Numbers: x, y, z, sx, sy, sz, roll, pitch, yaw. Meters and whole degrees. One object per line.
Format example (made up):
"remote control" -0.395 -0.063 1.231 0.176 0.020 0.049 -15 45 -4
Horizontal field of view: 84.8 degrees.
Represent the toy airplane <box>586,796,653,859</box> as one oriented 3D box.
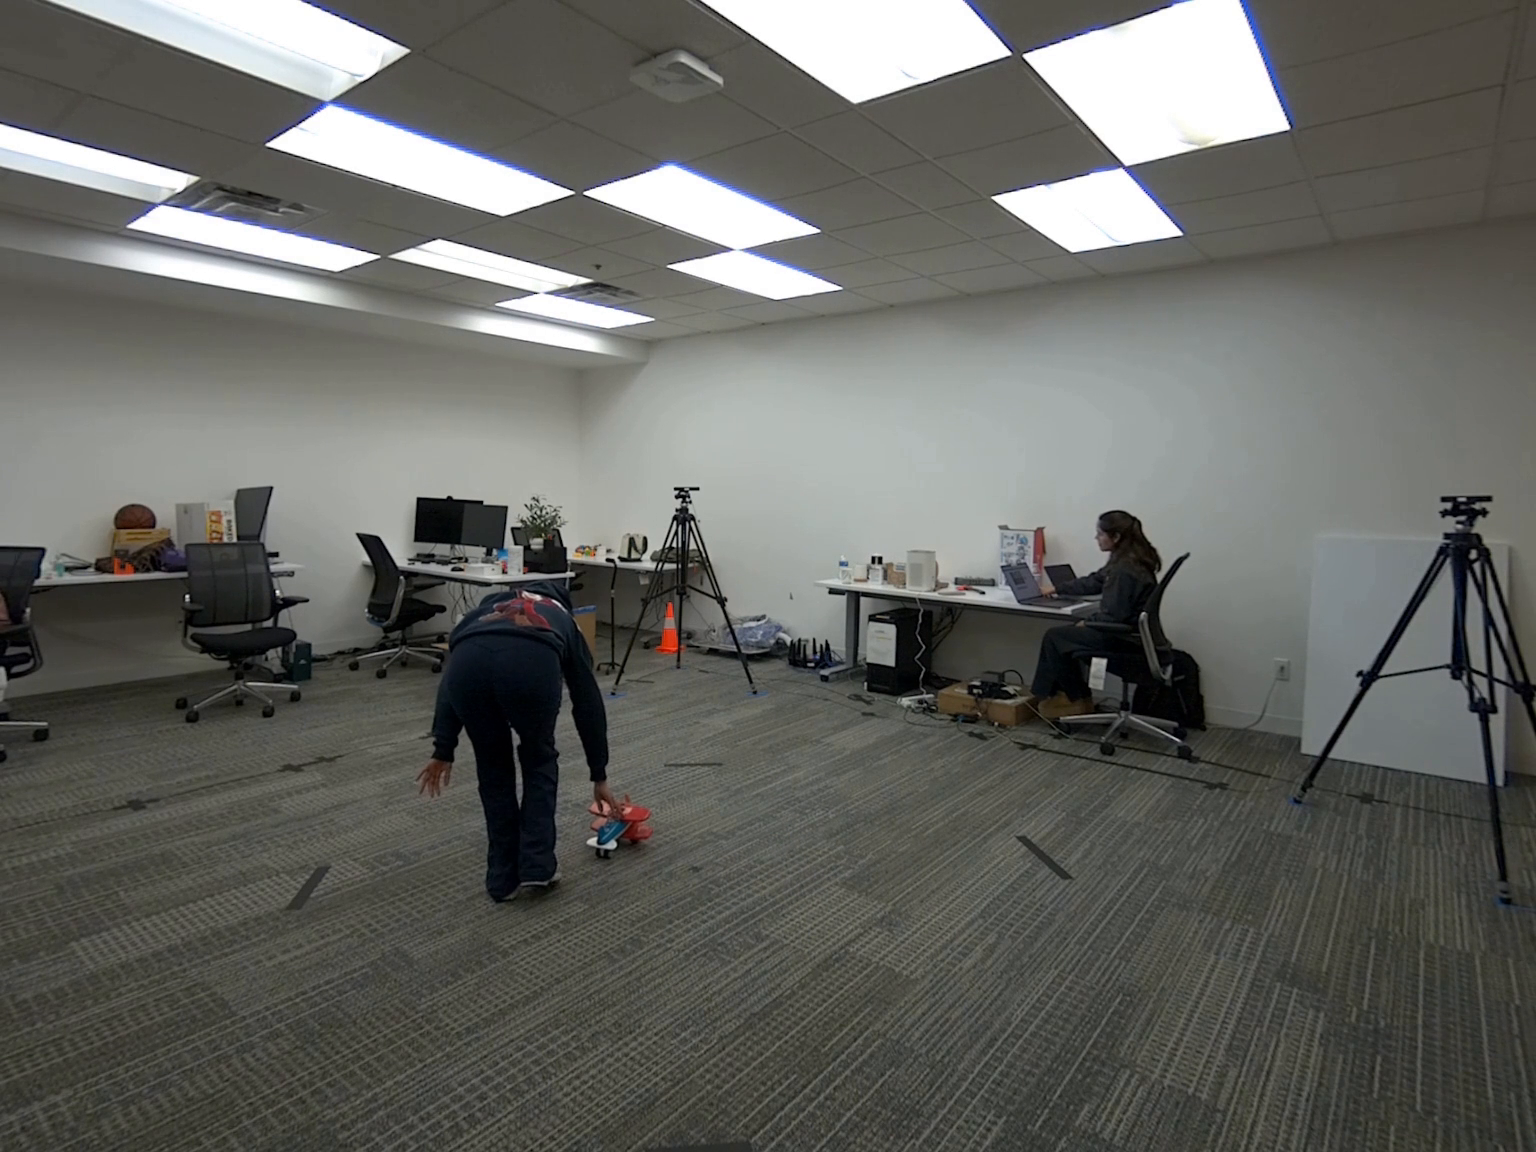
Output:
"toy airplane" -0.577 0.974 3.265 0.249 0.156 0.263 -1 5 -10
